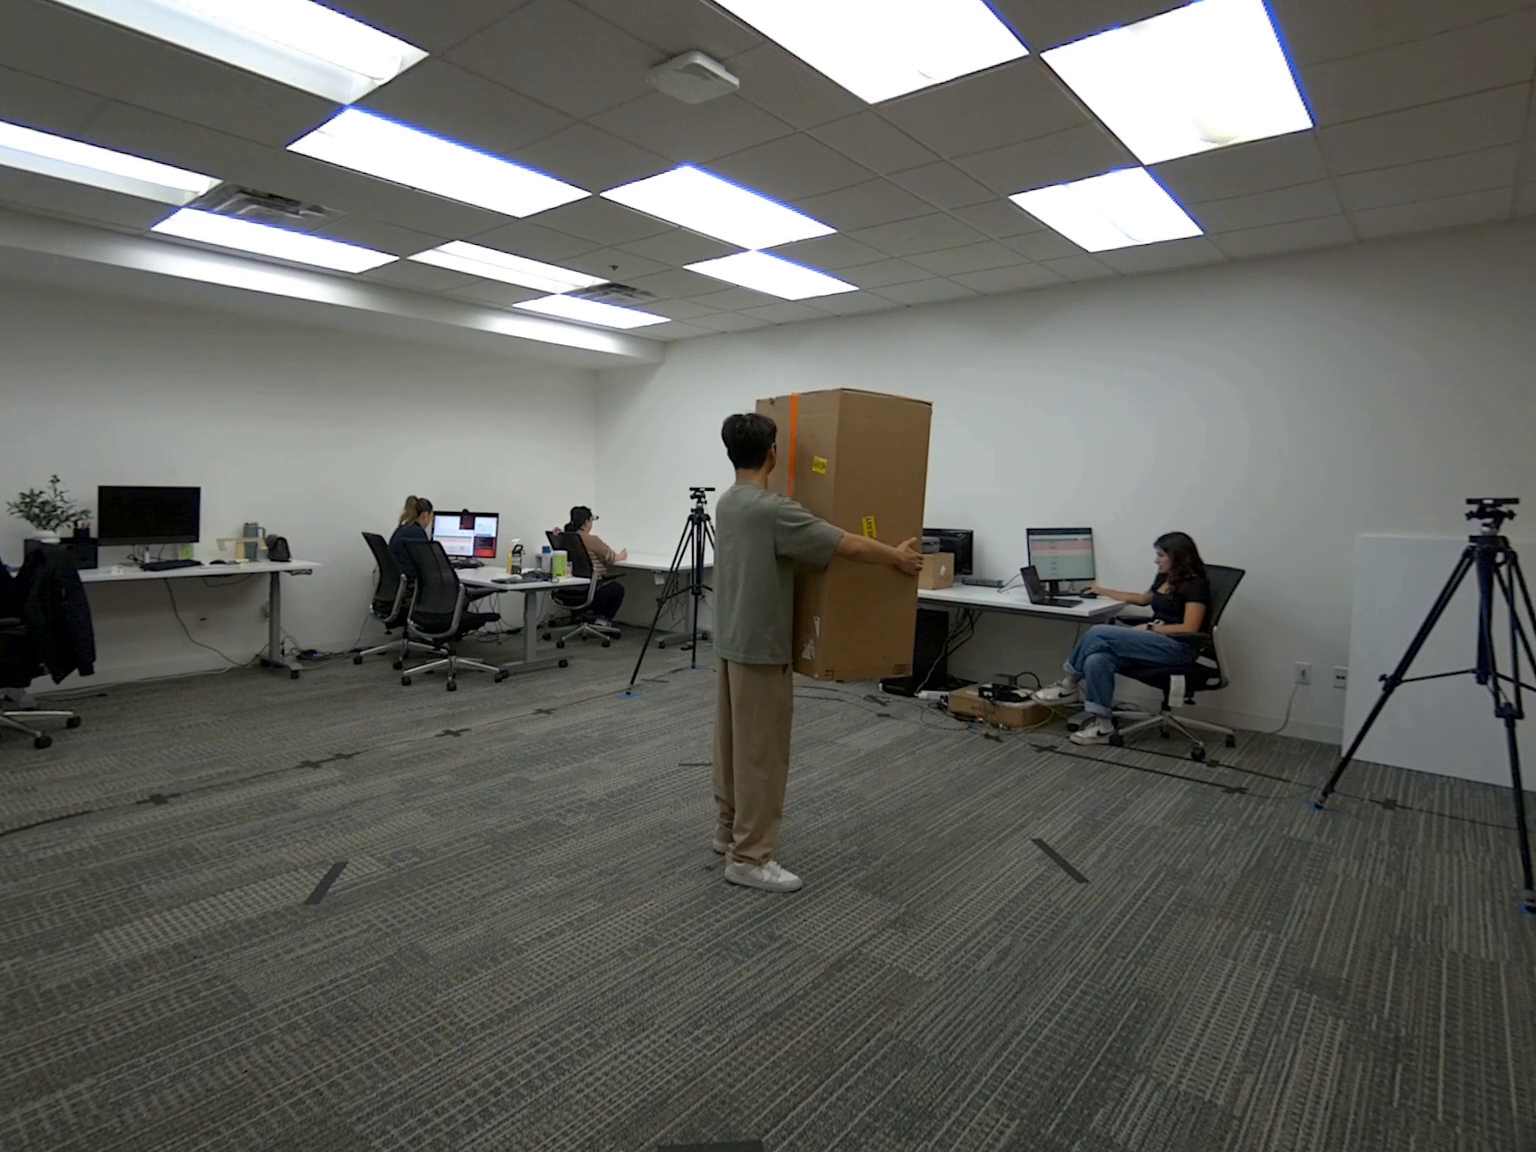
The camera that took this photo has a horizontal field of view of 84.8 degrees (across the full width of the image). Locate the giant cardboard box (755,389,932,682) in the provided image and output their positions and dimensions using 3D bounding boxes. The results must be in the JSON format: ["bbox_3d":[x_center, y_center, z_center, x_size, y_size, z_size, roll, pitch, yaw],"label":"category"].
[{"bbox_3d":[0.235,-0.174,3.284,0.414,1.023,0.596,3,4,-30],"label":"giant cardboard box"}]
